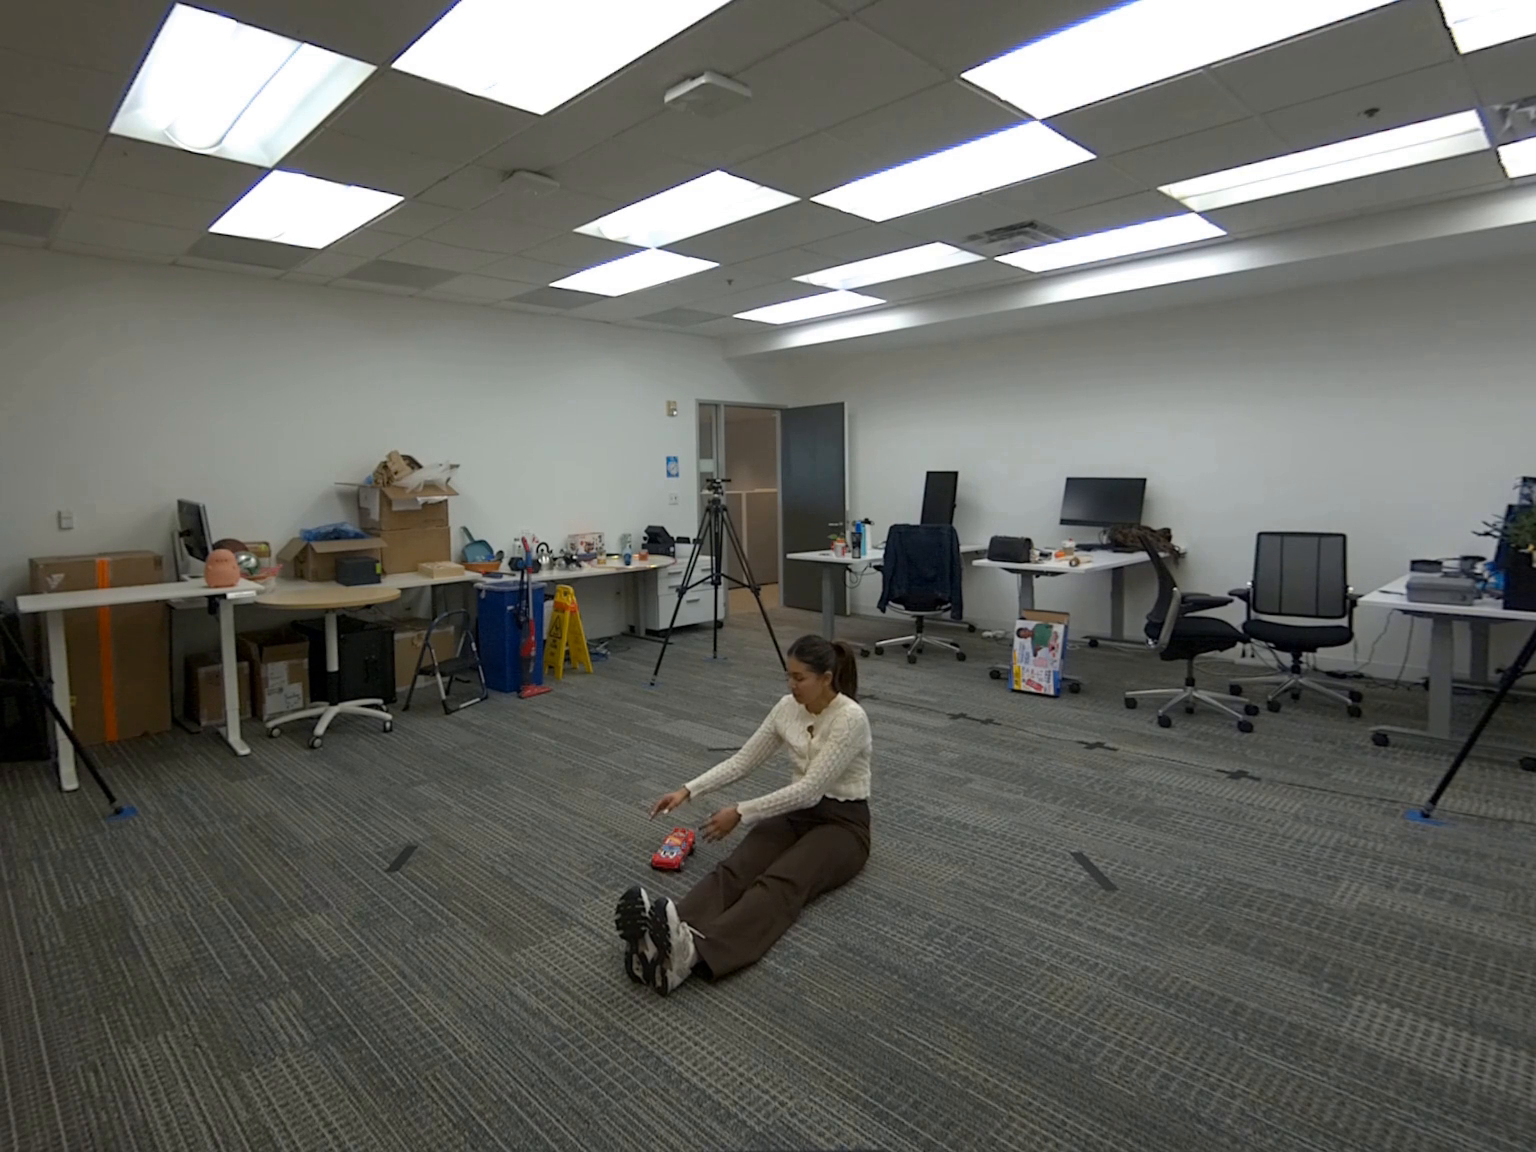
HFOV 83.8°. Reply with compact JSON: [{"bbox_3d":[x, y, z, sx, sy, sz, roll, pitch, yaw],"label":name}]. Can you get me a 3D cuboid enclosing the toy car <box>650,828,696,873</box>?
[{"bbox_3d":[-0.337,1.010,3.161,0.132,0.082,0.255,0,18,11],"label":"toy car"}]
